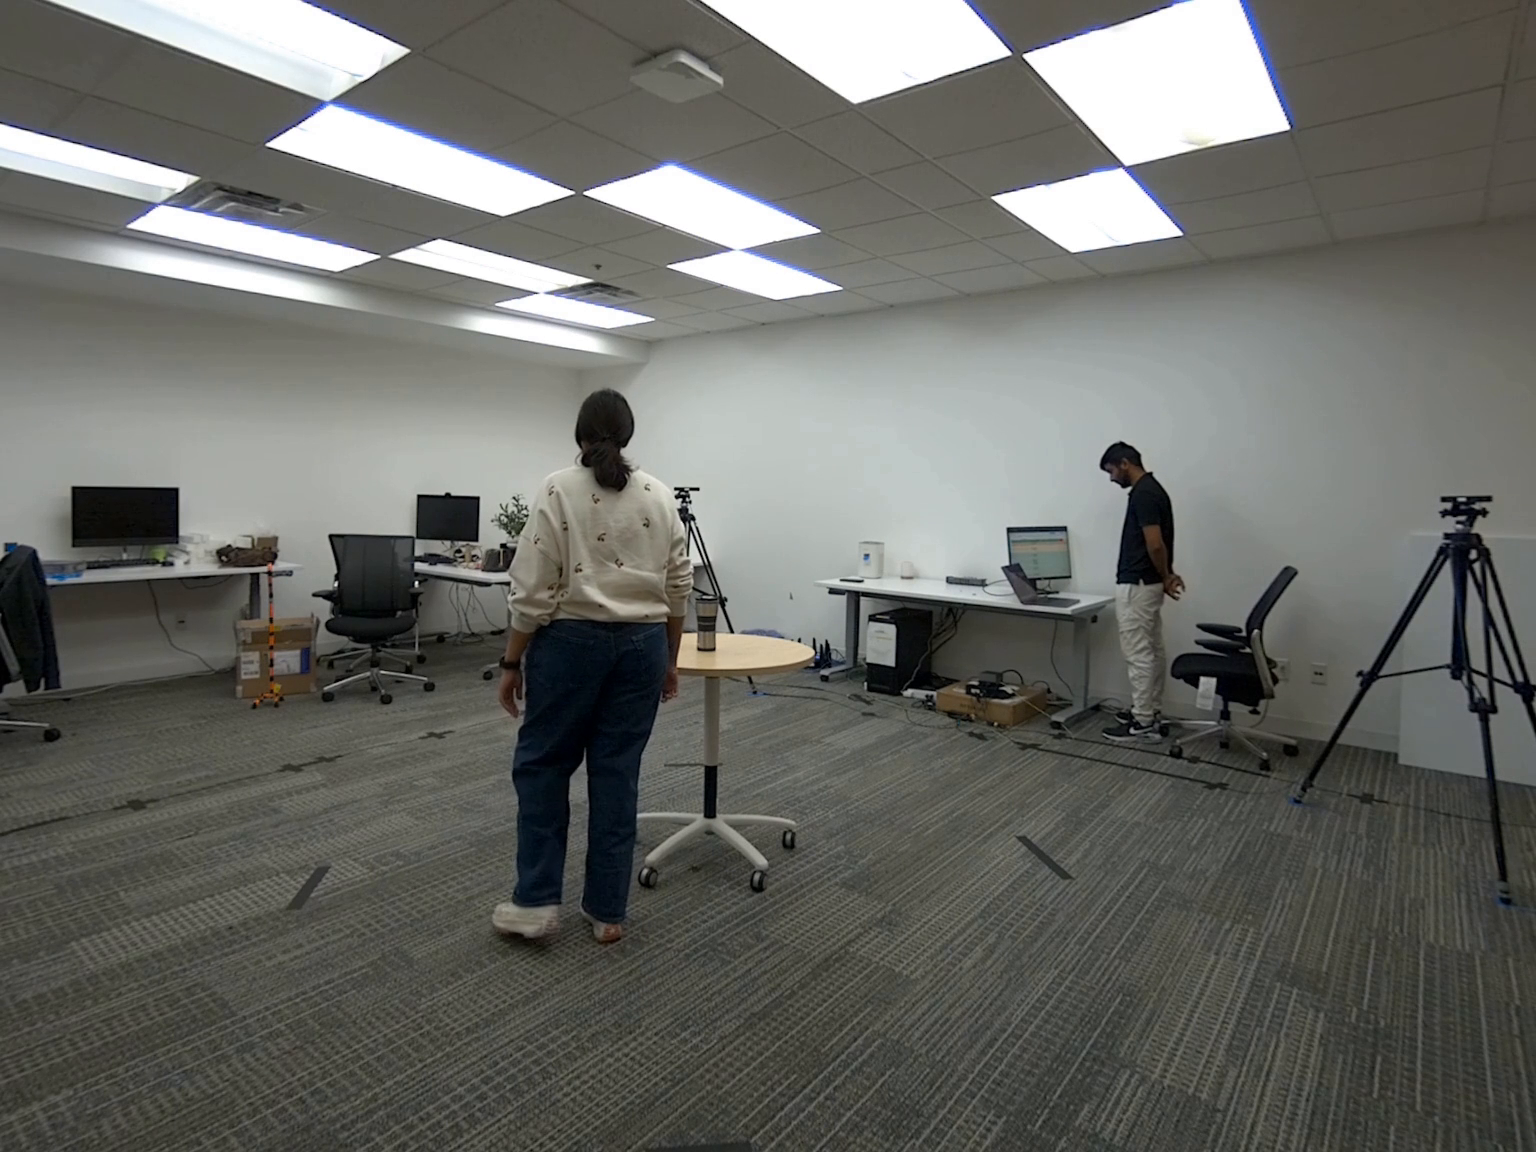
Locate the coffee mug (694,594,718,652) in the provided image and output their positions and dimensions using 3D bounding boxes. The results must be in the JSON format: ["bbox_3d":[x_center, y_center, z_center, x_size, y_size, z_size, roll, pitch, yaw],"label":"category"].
[{"bbox_3d":[-0.228,0.175,3.203,0.090,0.202,0.119,0,5,29],"label":"coffee mug"}]
